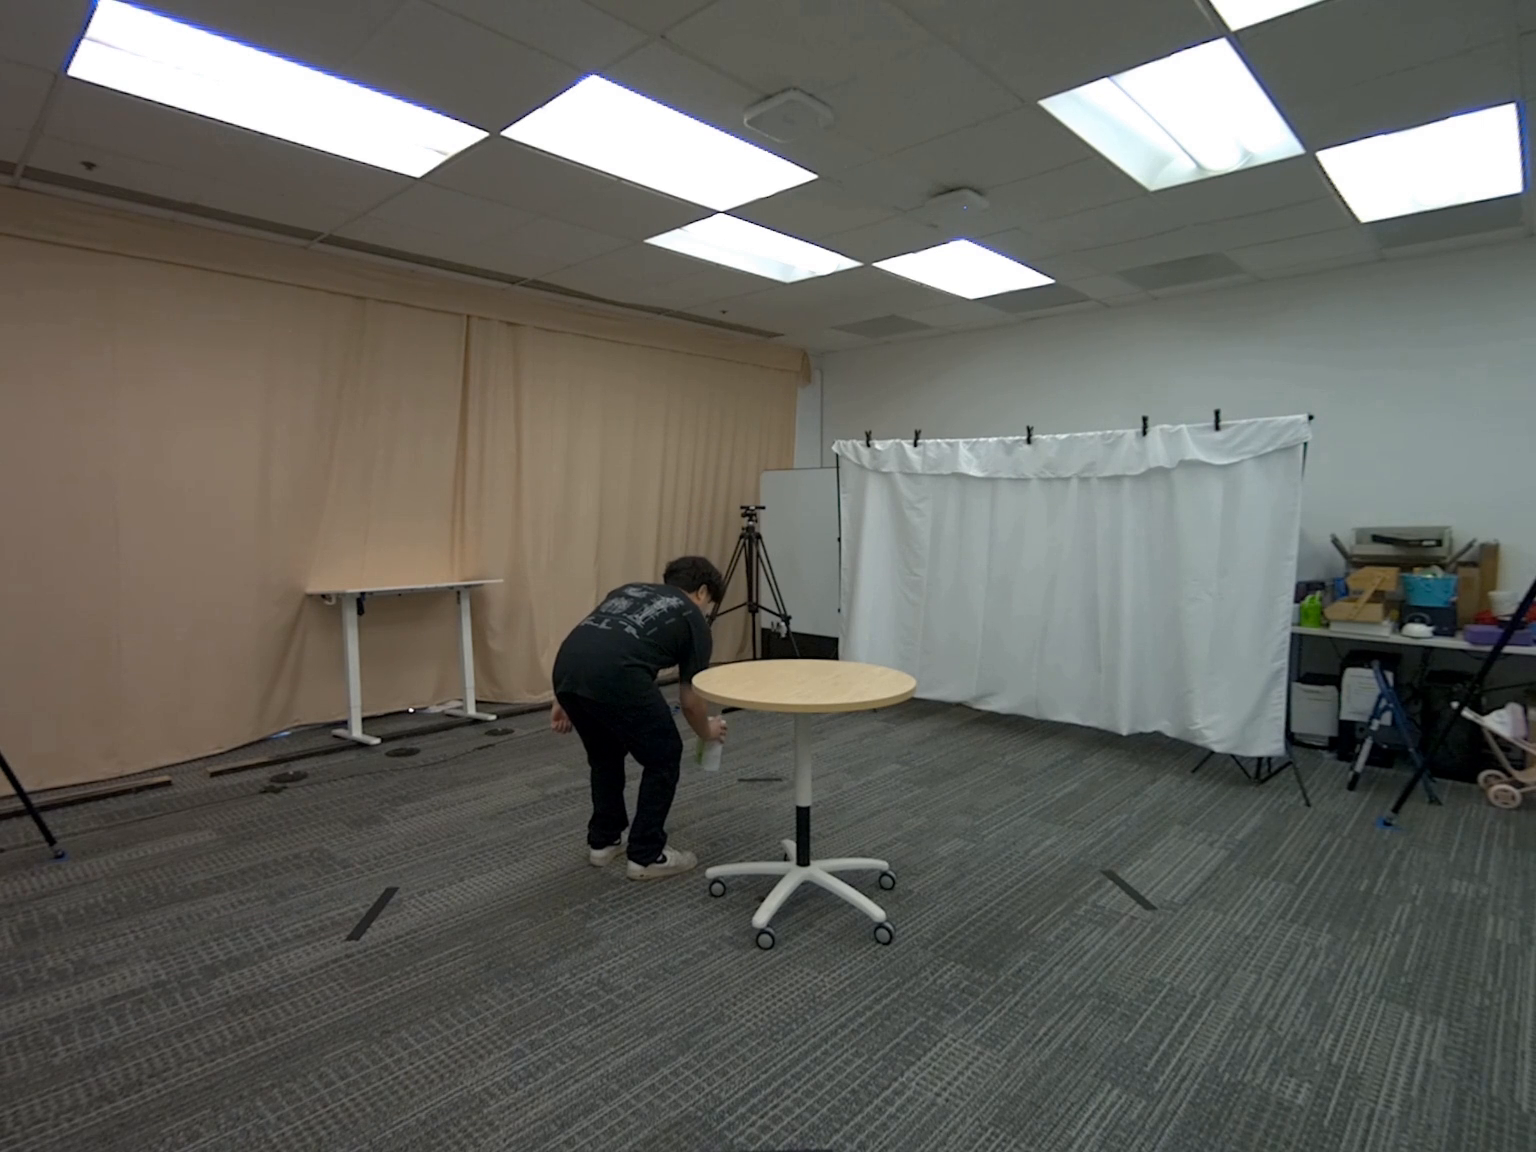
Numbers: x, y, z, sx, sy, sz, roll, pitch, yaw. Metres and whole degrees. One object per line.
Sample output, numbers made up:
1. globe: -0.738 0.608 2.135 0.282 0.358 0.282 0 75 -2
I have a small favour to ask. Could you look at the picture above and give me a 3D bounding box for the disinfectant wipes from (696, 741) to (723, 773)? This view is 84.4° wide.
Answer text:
1. disinfectant wipes: -0.241 0.710 3.578 0.118 0.218 0.118 5 -3 -2
